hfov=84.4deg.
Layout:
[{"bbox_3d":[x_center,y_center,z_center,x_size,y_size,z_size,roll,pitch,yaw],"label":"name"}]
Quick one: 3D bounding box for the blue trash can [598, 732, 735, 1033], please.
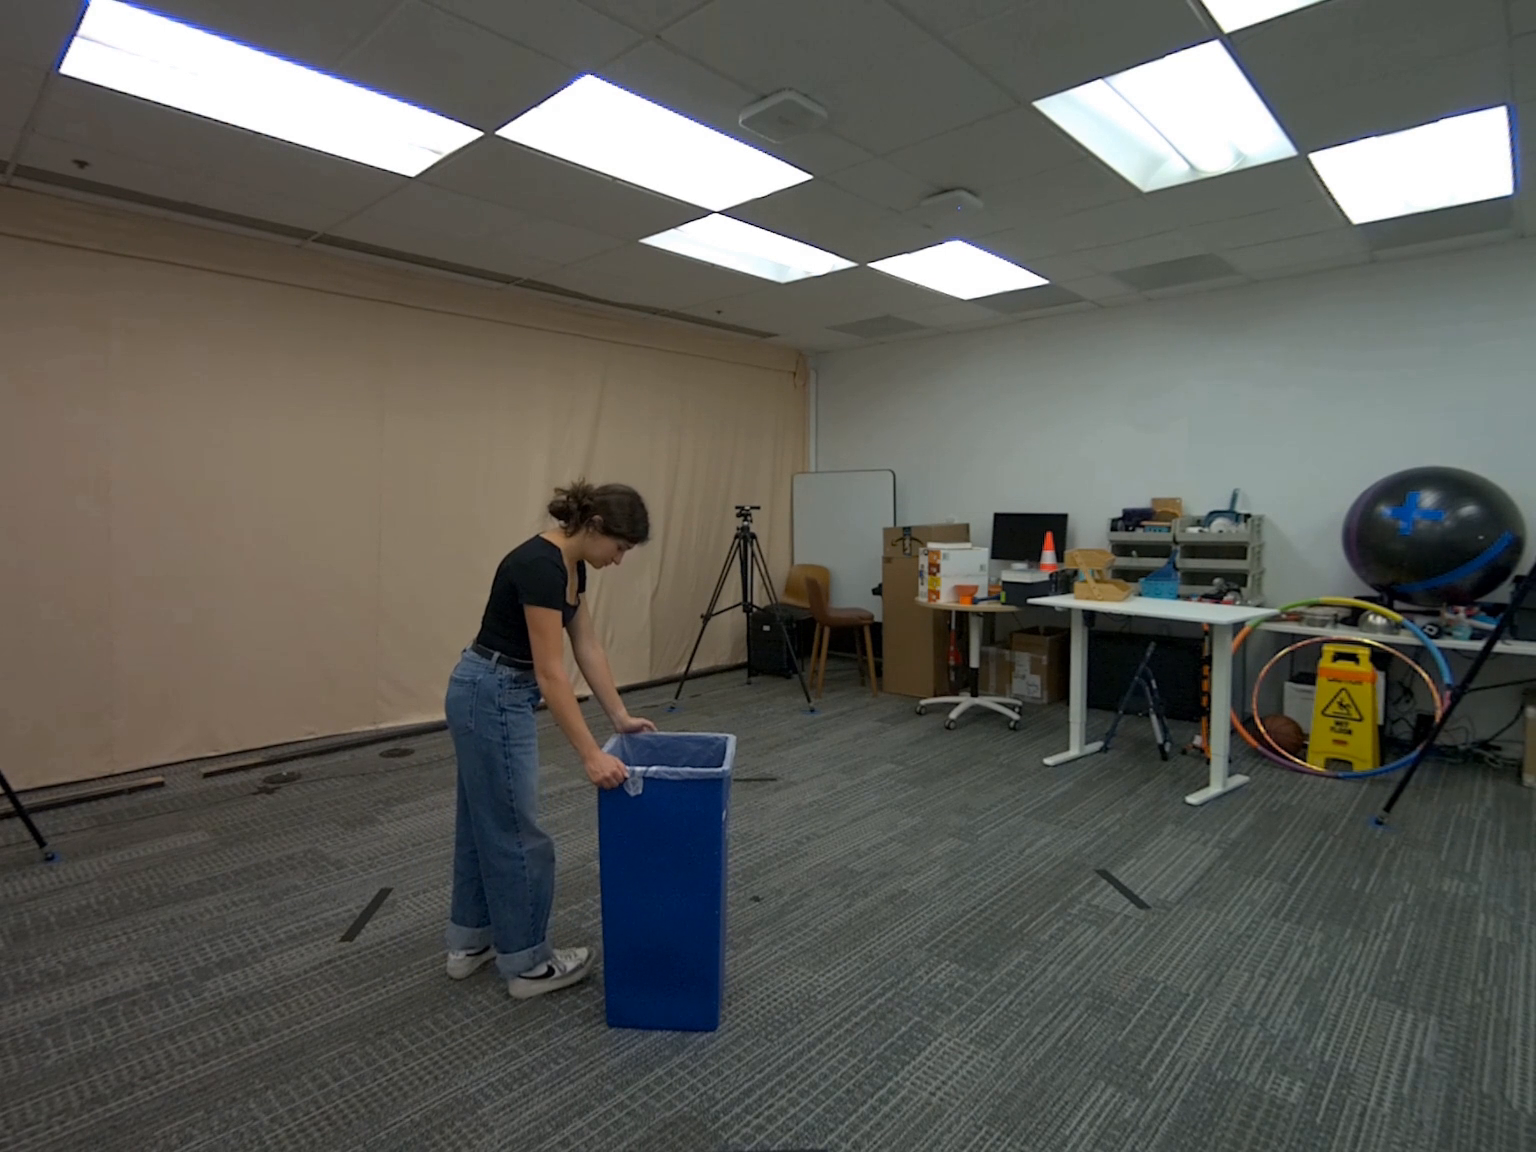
[{"bbox_3d":[-0.286,0.848,2.362,0.380,0.712,0.373,0,4,3],"label":"blue trash can"}]
